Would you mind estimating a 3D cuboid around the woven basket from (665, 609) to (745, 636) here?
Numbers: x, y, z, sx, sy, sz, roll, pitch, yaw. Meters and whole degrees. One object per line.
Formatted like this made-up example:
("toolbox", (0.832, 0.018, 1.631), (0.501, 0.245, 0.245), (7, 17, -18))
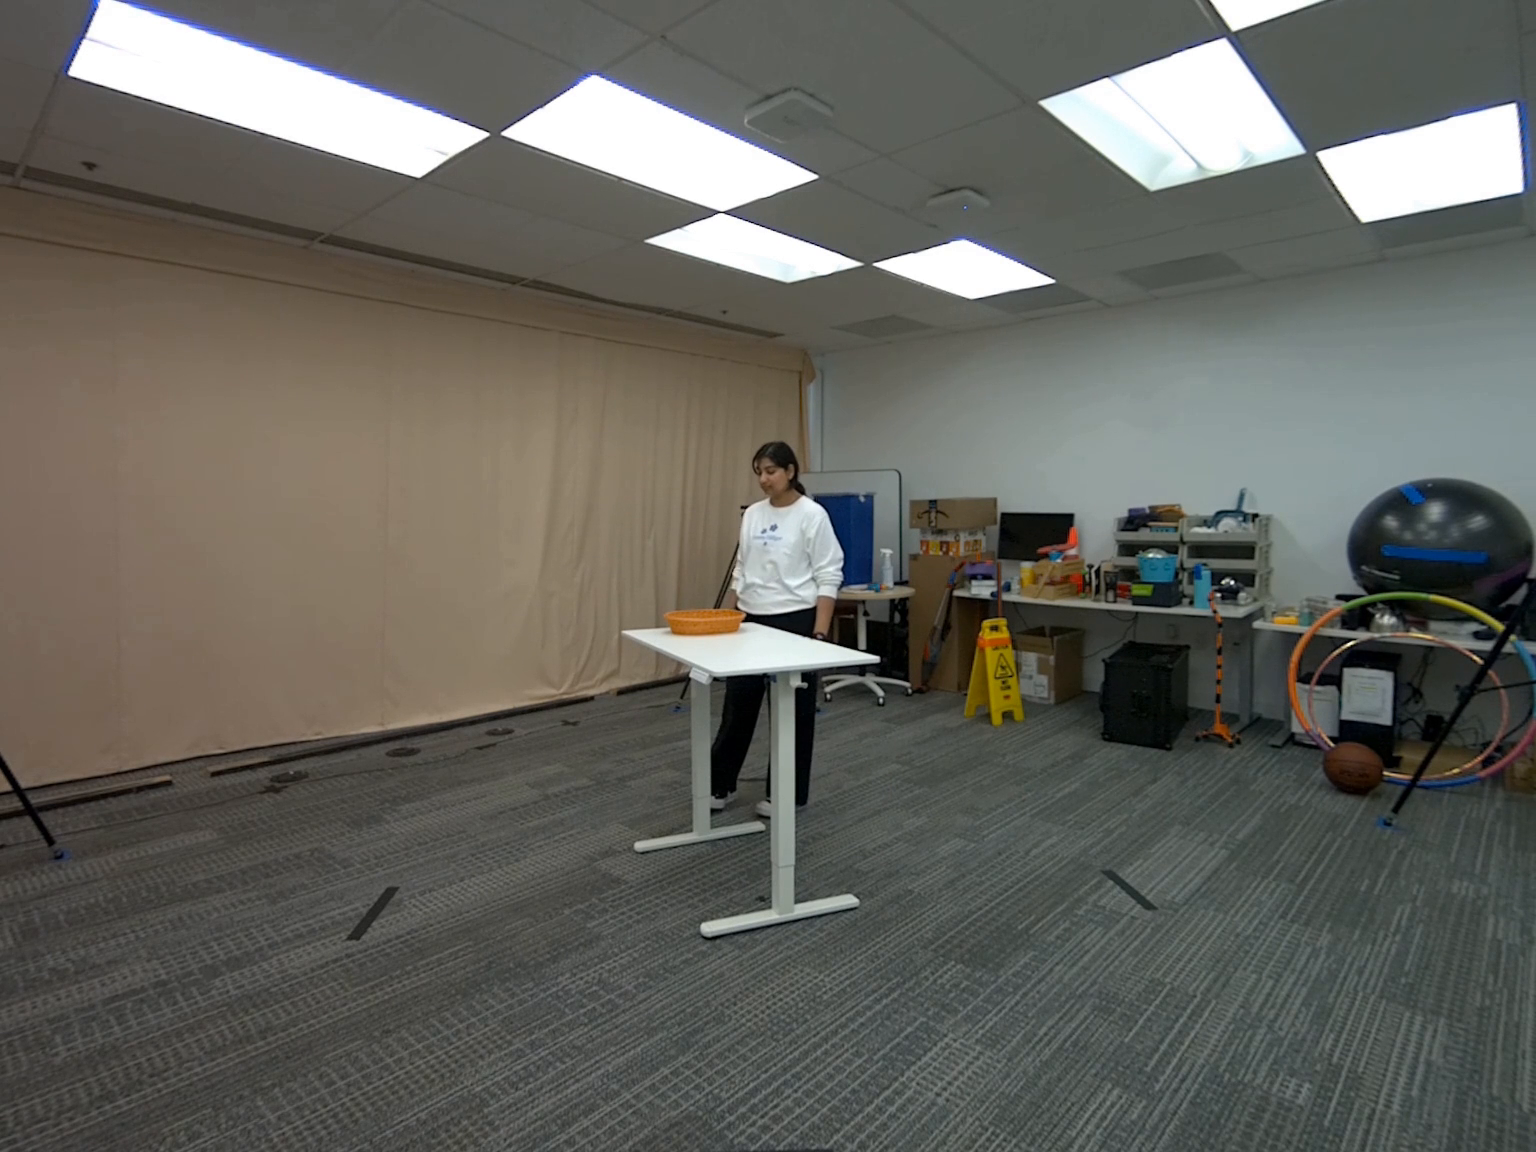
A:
("woven basket", (-0.258, 0.196, 3.452), (0.344, 0.073, 0.258), (-1, 7, -17))
